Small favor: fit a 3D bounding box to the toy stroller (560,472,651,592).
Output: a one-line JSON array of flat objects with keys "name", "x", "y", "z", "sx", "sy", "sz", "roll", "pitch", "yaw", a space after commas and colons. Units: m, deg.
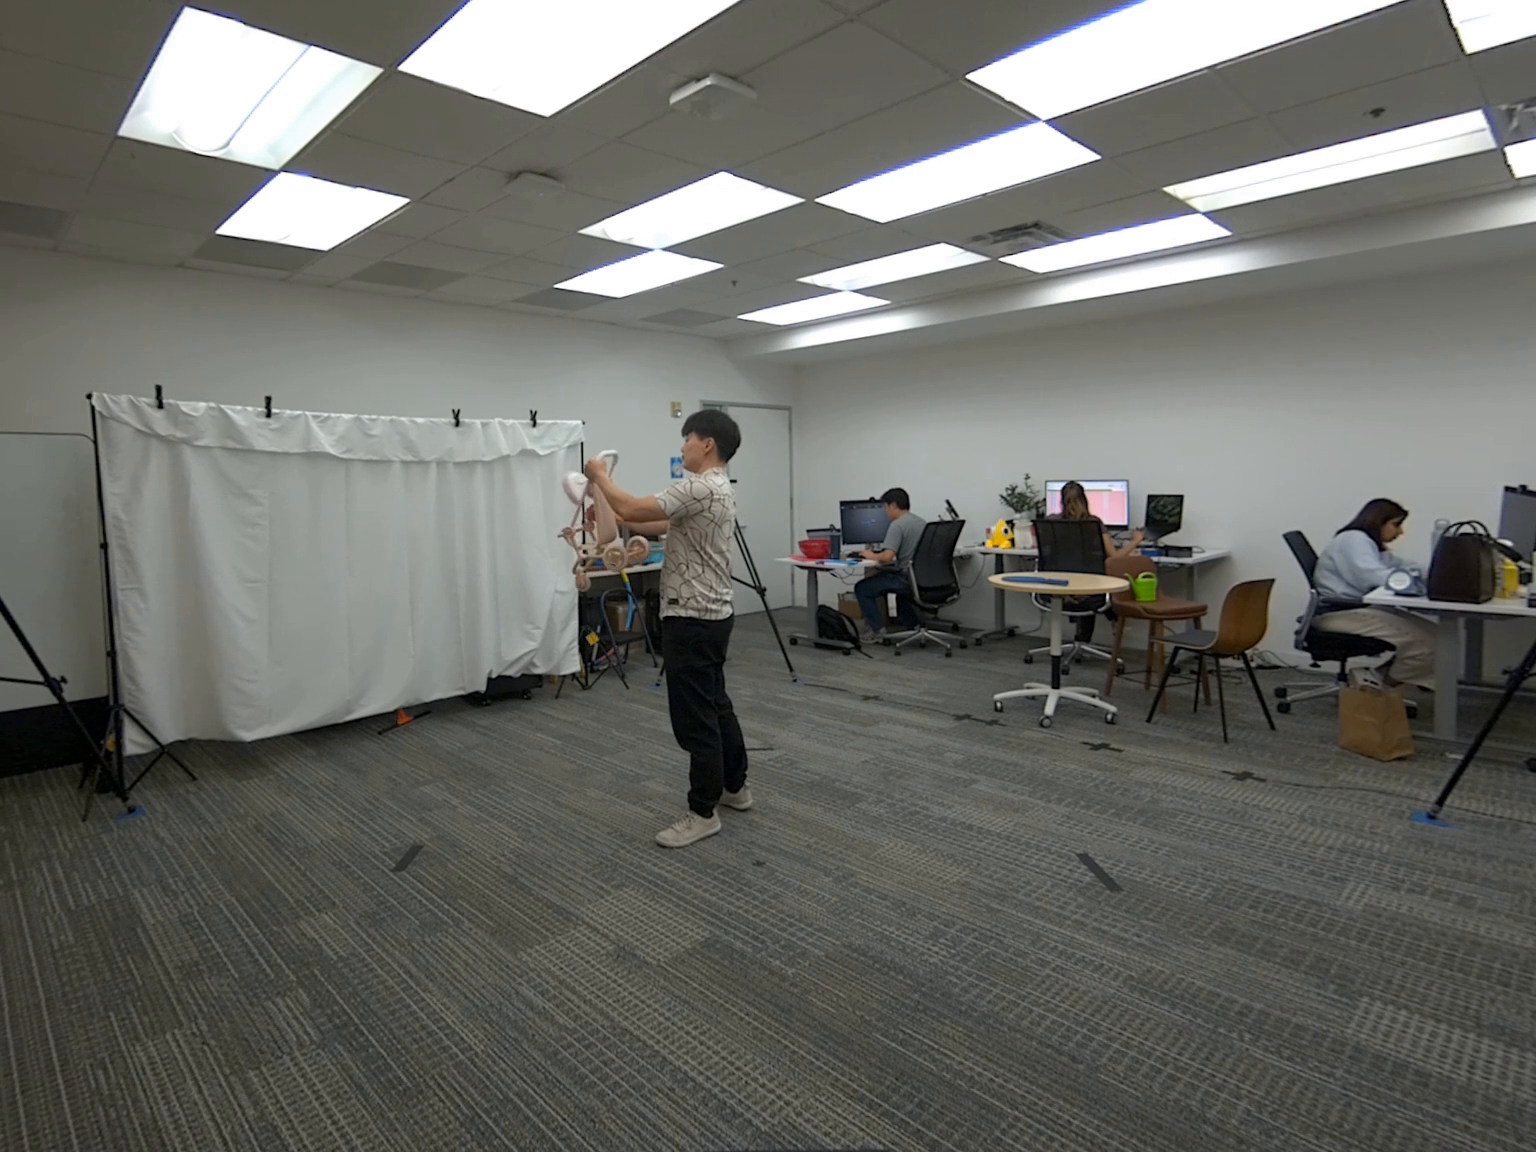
[{"name": "toy stroller", "x": -0.726, "y": -0.219, "z": 3.566, "sx": 0.346, "sy": 0.533, "sz": 0.279, "roll": -15, "pitch": 4, "yaw": 21}]
